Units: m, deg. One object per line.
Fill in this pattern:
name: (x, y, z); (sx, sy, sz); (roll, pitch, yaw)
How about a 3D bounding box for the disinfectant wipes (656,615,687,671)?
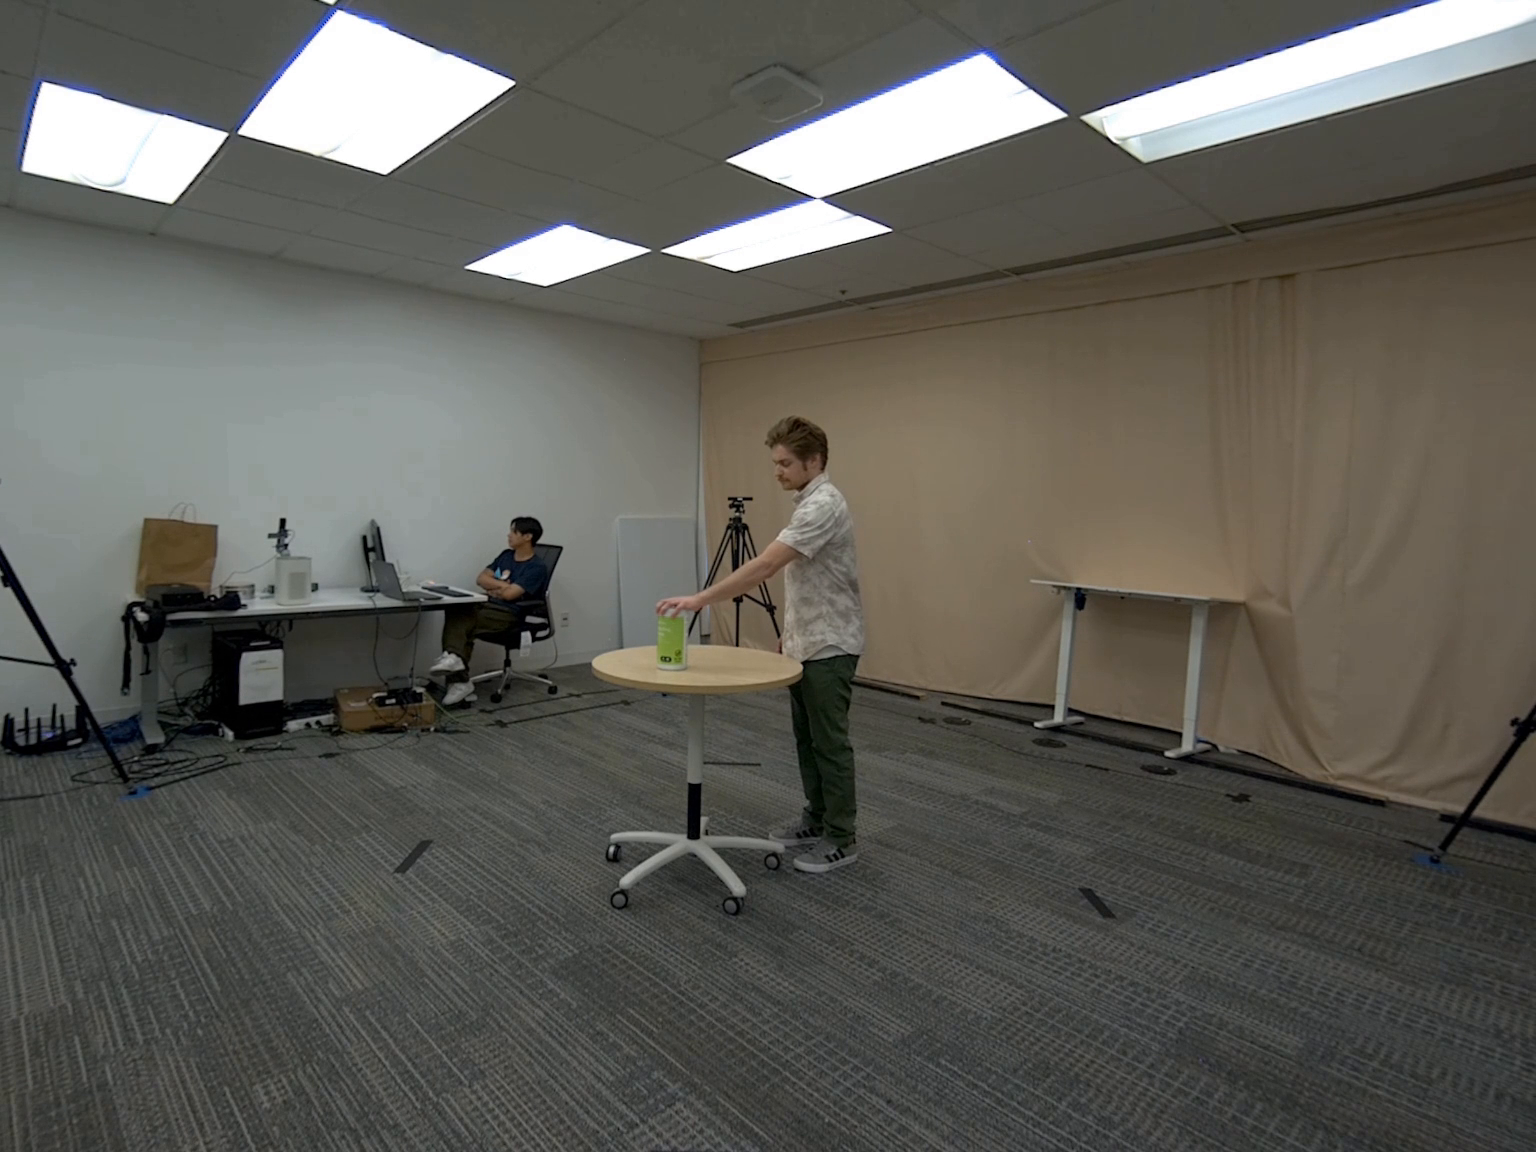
disinfectant wipes: (-0.342, 0.220, 2.955); (0.118, 0.217, 0.118); (2, 5, -2)
